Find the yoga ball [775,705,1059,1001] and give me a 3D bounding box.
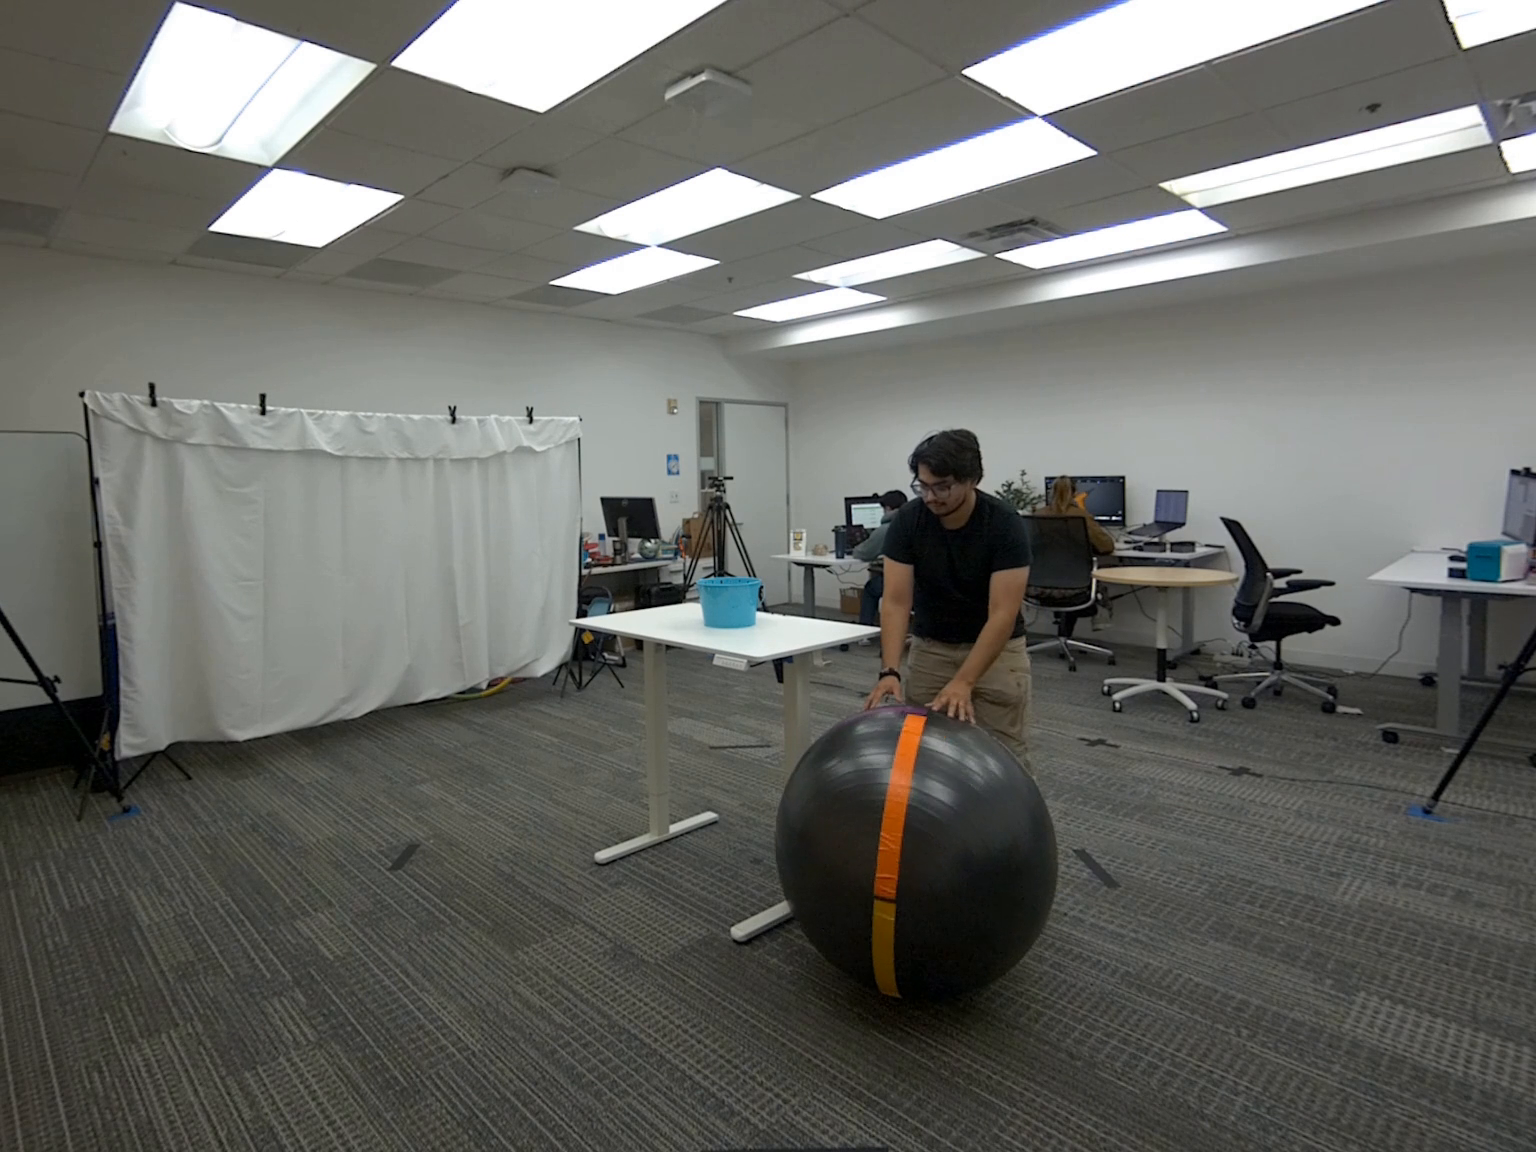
[{"bbox_3d":[0.405,0.754,2.358,0.757,0.755,0.762,-1,5,-2],"label":"yoga ball"}]
